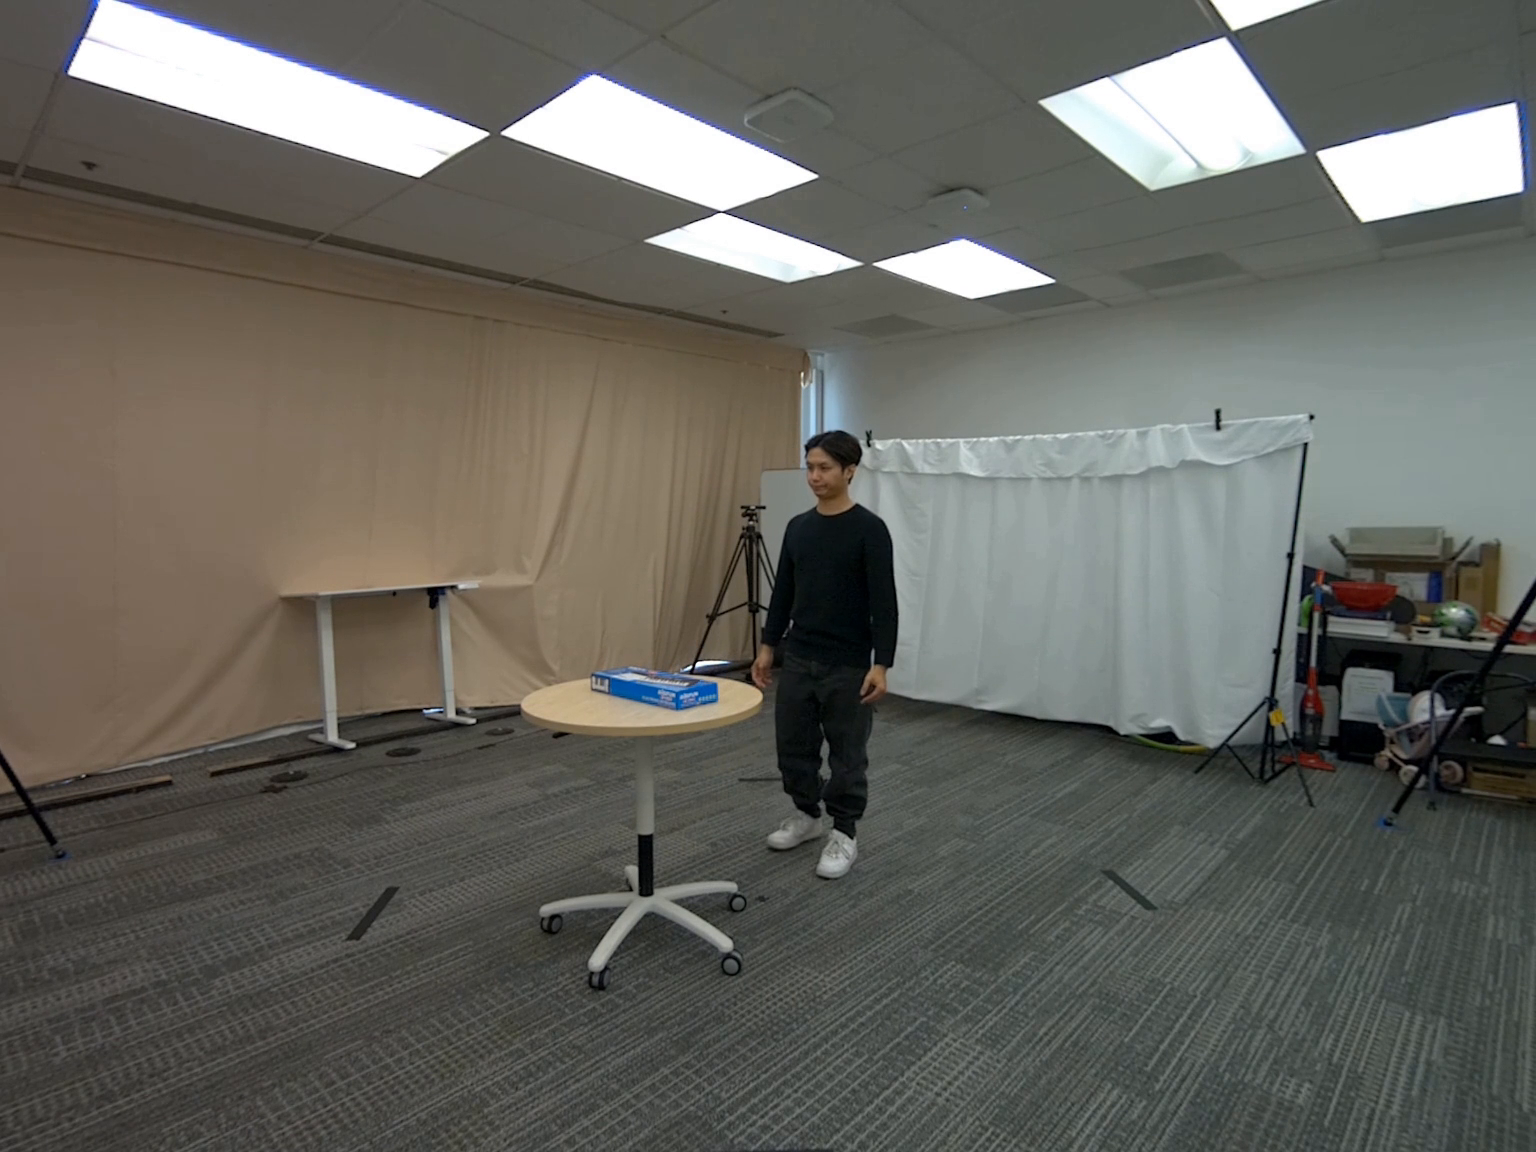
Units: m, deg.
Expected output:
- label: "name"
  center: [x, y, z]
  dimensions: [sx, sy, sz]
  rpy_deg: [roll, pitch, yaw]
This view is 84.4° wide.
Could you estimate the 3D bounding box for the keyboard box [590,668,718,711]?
- label: "keyboard box"
  center: [-0.371, 0.356, 2.708]
  dimensions: [0.451, 0.059, 0.170]
  rpy_deg: [3, 6, 44]
